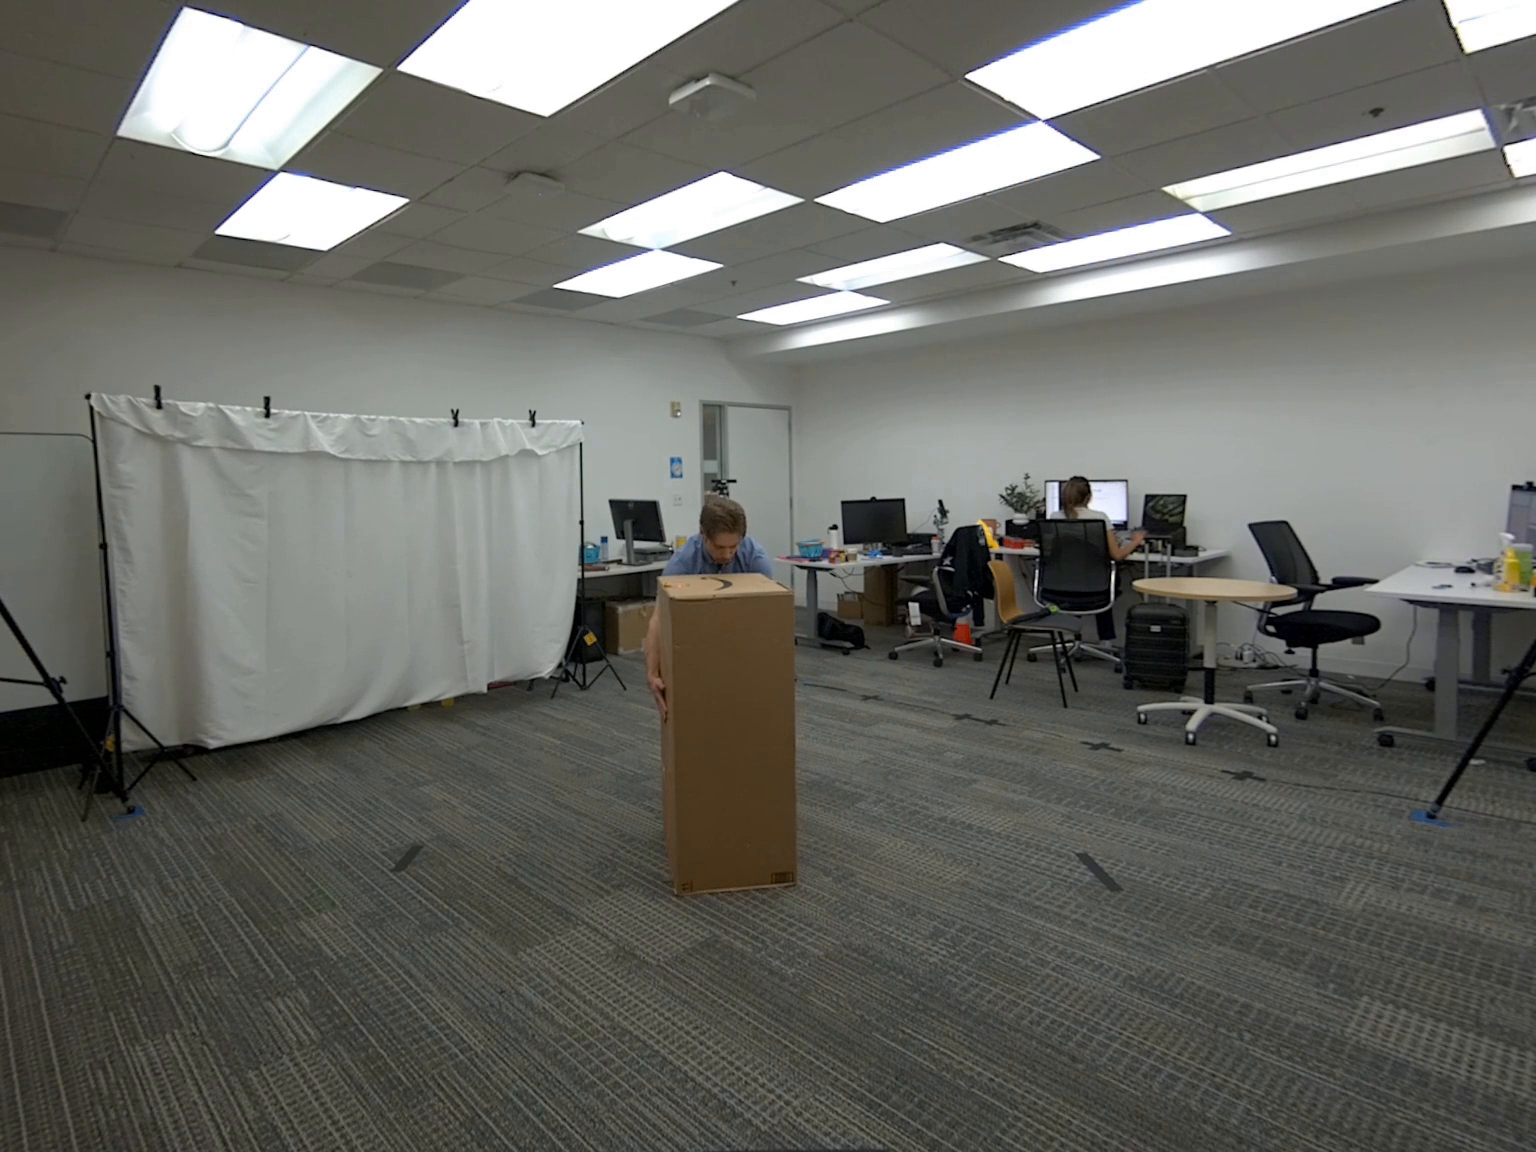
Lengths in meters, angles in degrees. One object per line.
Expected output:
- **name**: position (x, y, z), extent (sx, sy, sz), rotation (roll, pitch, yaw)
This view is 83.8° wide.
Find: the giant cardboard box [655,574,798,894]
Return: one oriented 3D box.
- **giant cardboard box**: position (-0.170, 0.538, 3.151), extent (0.422, 1.022, 0.585), rotation (-2, 4, -10)
